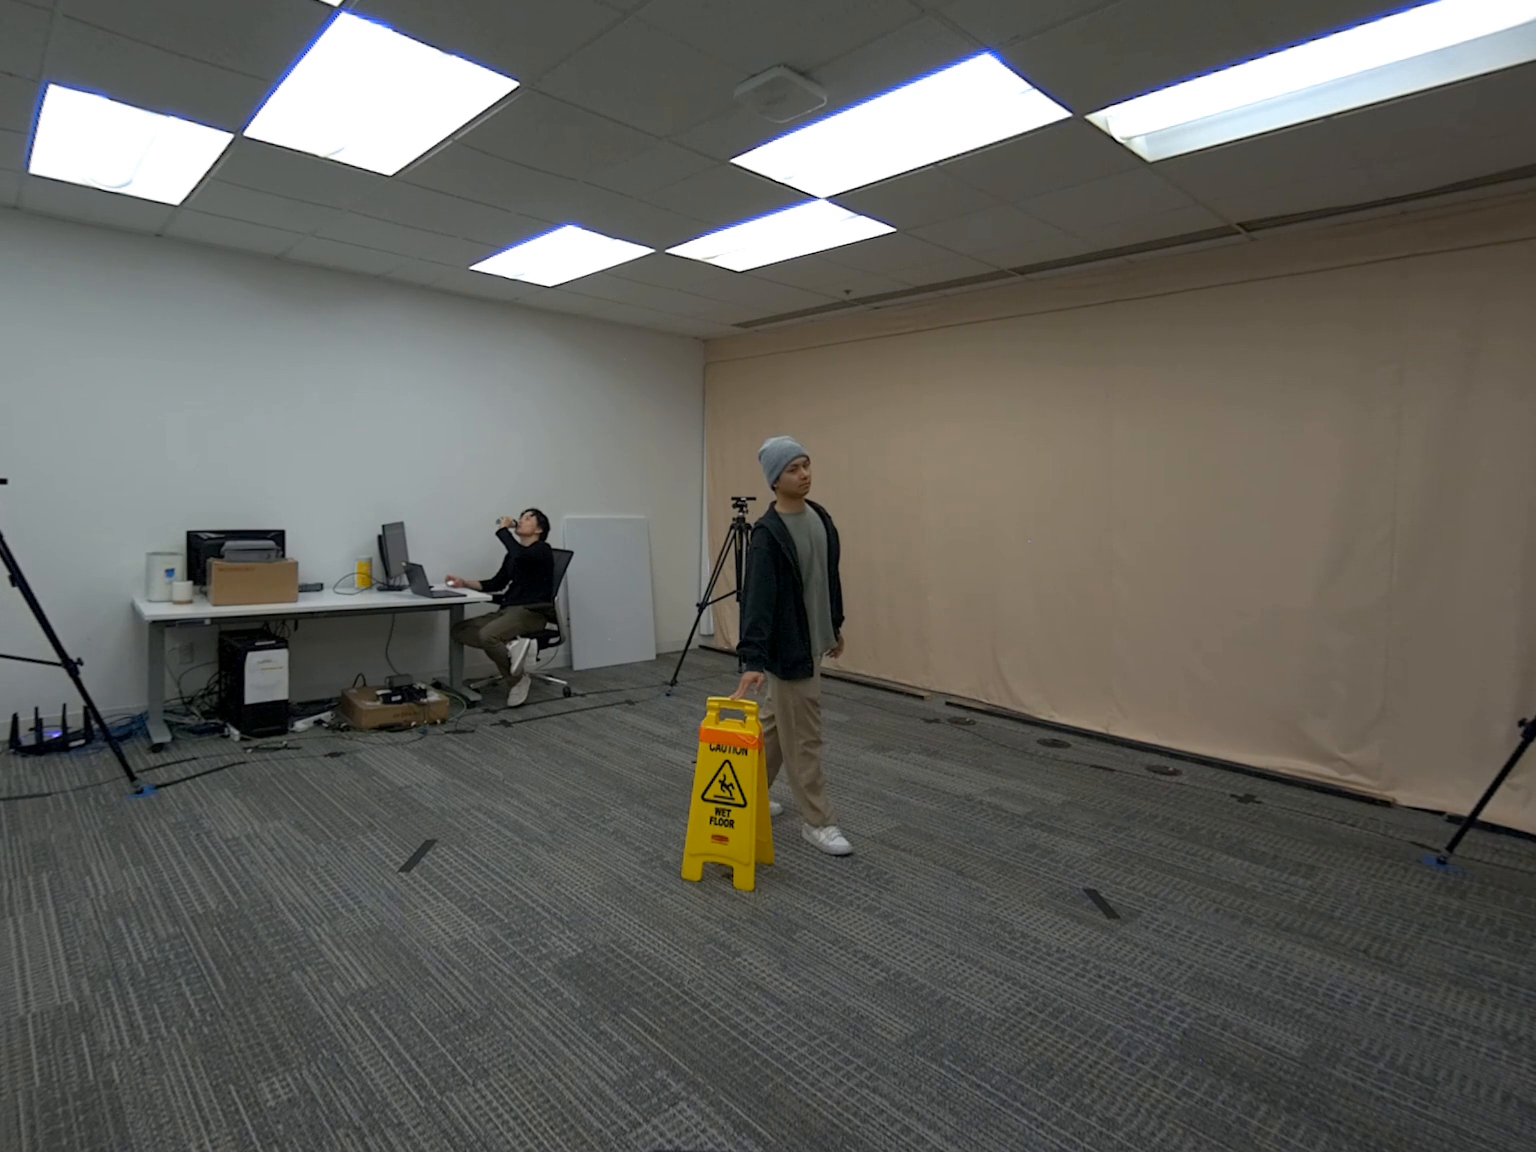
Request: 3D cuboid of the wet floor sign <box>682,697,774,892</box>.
[{"bbox_3d":[-0.145,0.782,3.138,0.286,0.644,0.286,3,4,18],"label":"wet floor sign"}]
